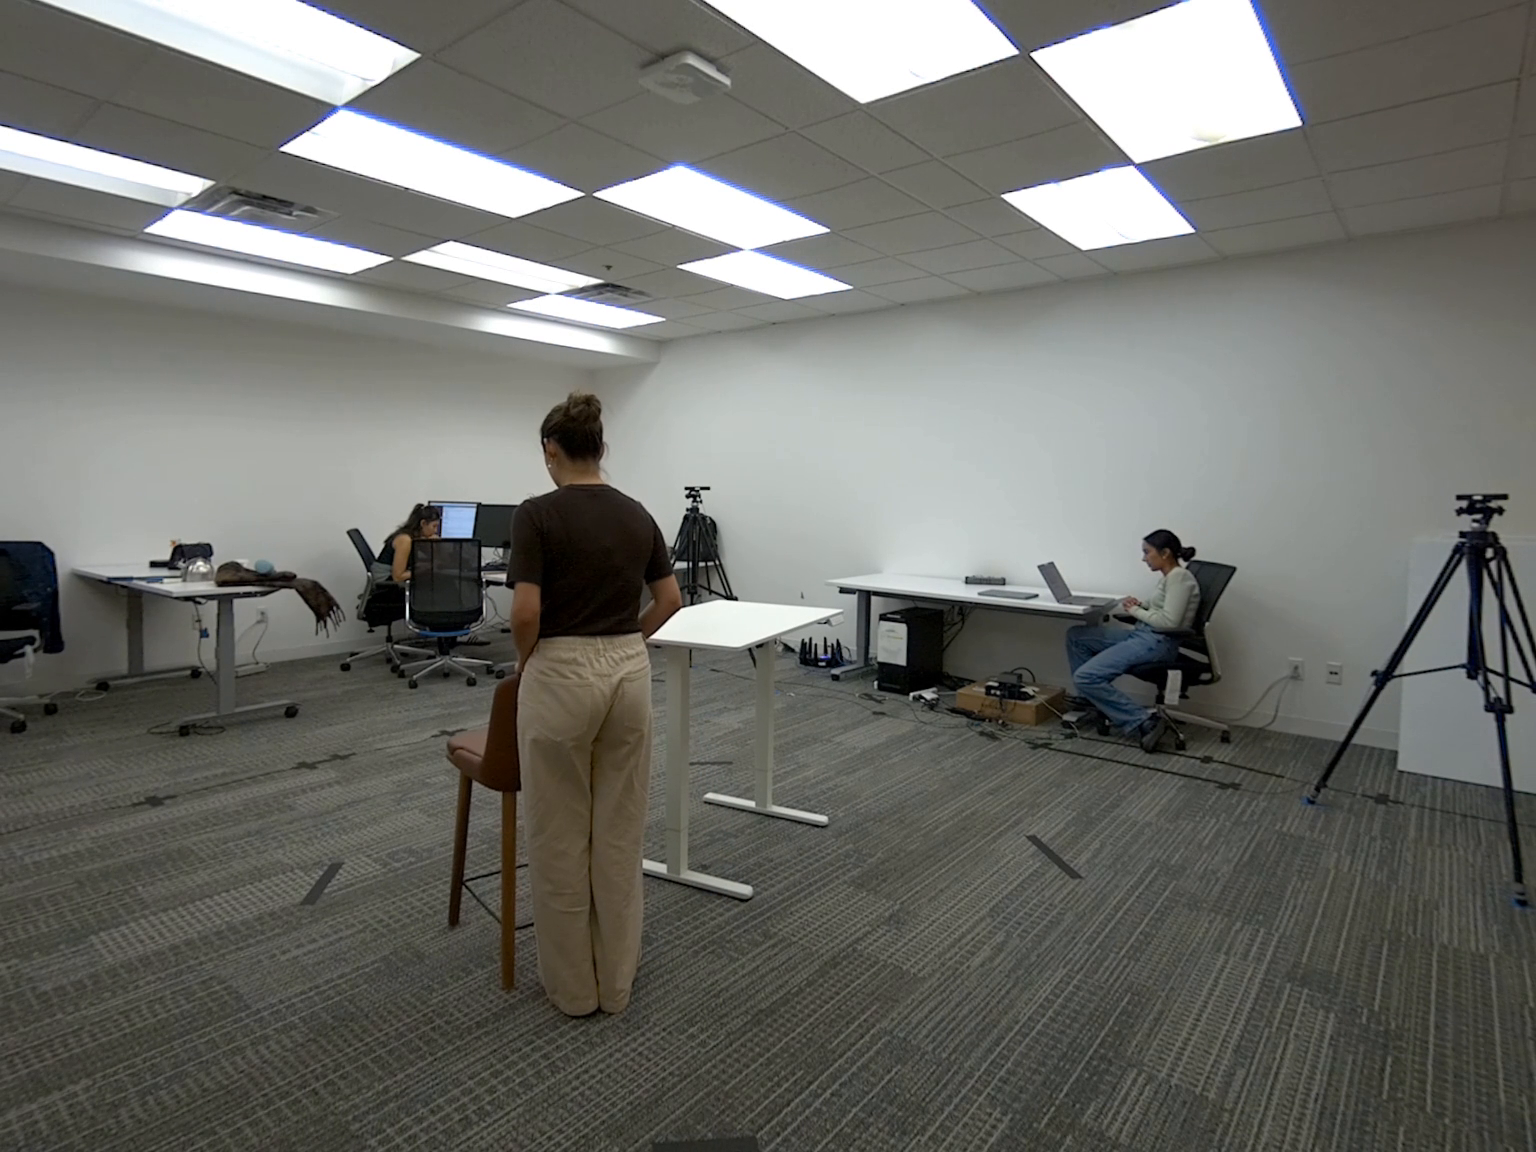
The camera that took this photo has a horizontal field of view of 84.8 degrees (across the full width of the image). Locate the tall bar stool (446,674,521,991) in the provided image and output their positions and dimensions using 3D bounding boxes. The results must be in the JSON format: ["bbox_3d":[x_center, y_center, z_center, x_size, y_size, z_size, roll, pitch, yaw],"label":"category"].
[{"bbox_3d":[-0.720,0.671,2.588,0.443,0.886,0.483,-2,6,-37],"label":"tall bar stool"}]
